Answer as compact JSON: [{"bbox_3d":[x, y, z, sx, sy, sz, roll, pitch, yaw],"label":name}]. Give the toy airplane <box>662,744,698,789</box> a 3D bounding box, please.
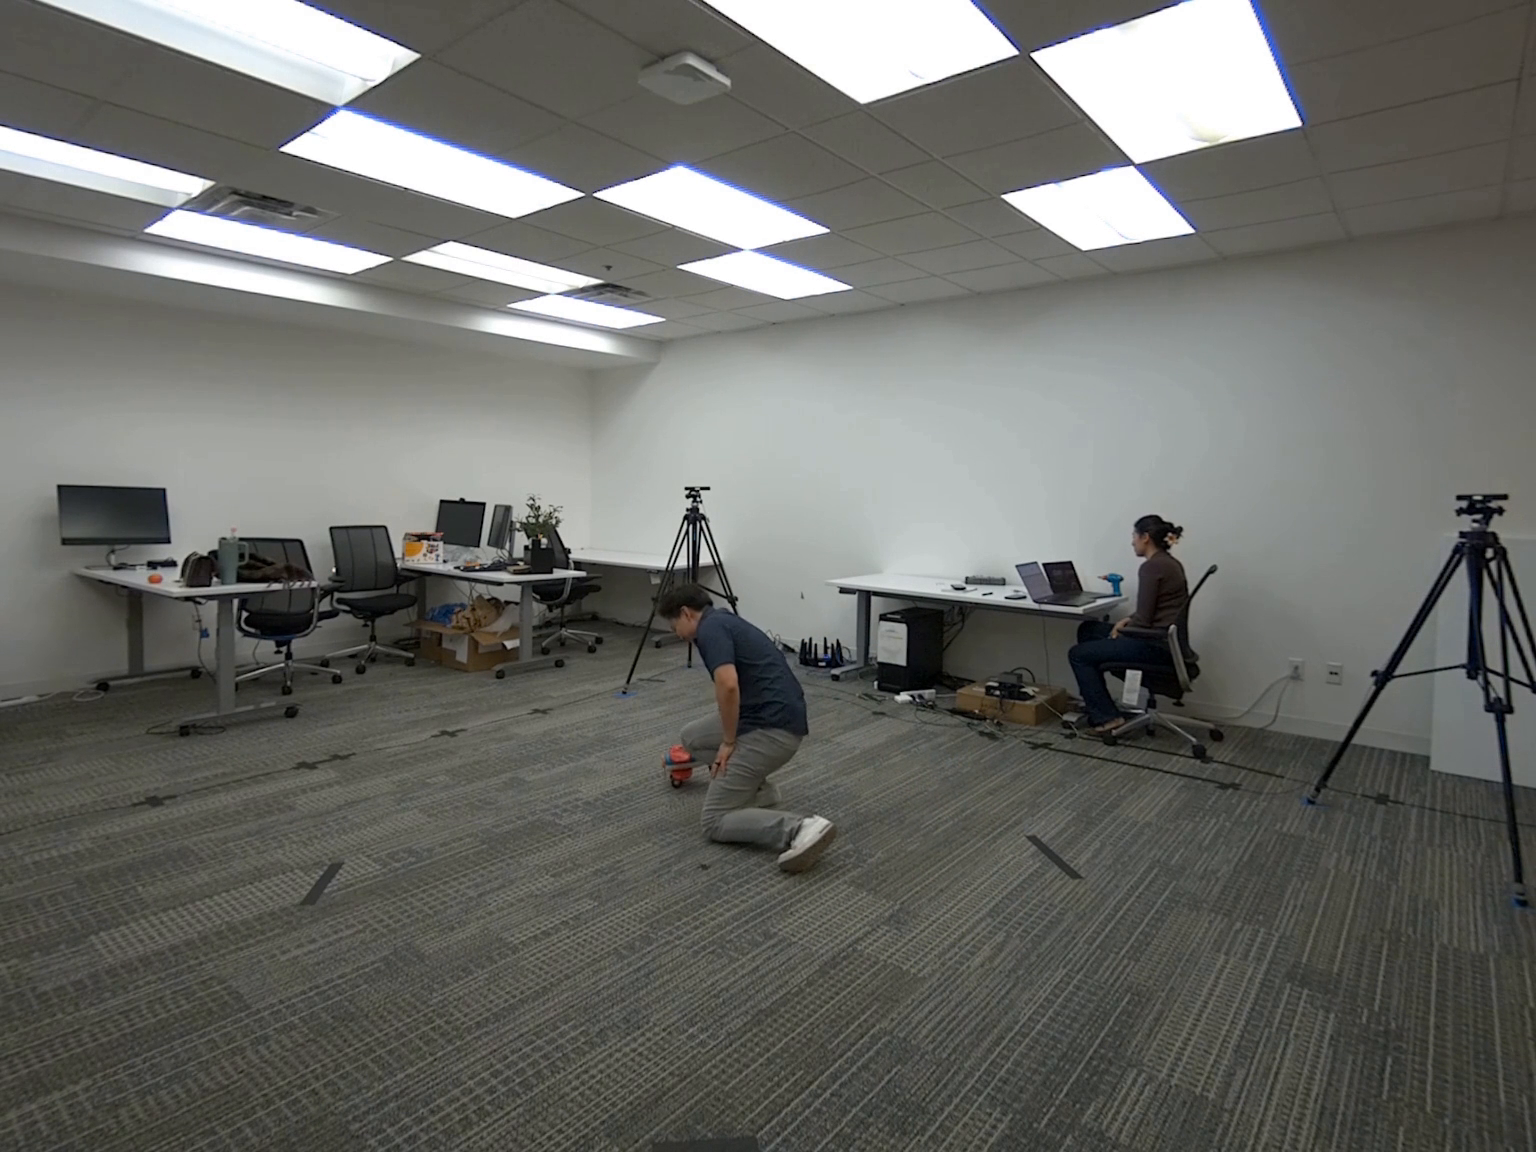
[{"bbox_3d":[-0.387,0.876,4.016,0.255,0.155,0.257,-25,9,-34],"label":"toy airplane"}]
